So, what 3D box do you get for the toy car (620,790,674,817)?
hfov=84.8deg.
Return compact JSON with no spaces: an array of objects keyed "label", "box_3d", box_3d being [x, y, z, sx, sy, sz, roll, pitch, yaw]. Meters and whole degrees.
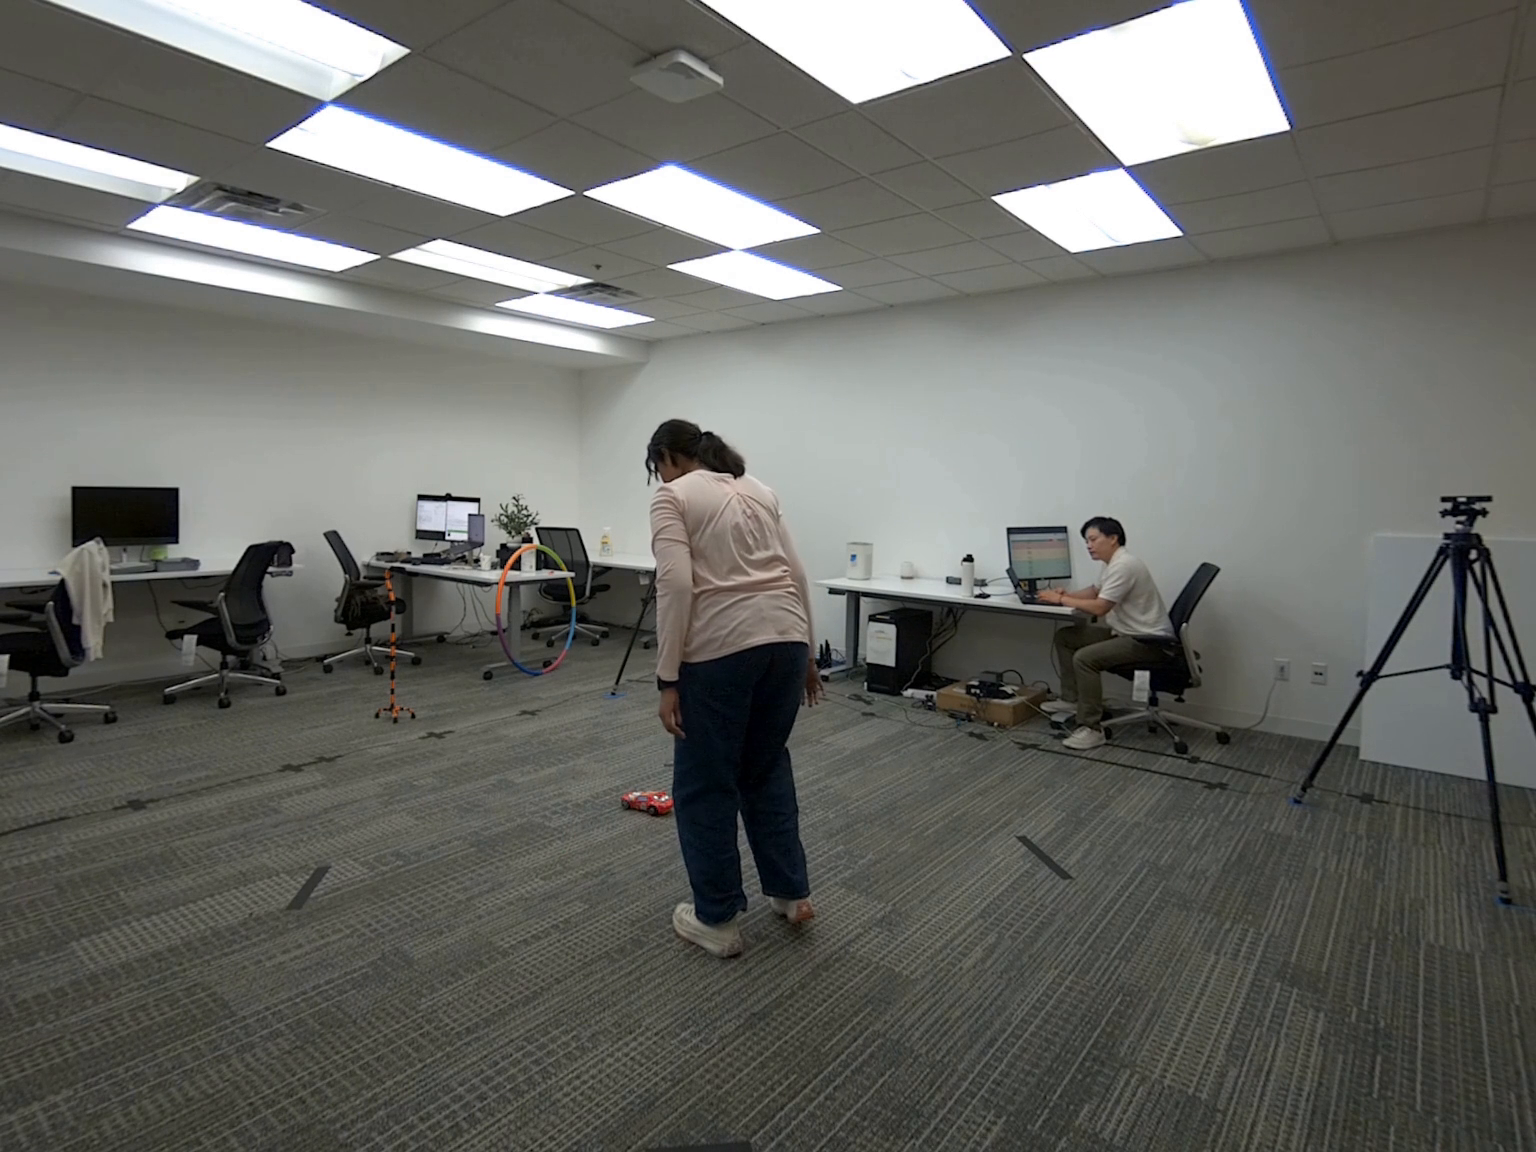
[{"label":"toy car","box_3d":[-0.521,0.976,3.674,0.260,0.083,0.127,-9,0,30]}]
